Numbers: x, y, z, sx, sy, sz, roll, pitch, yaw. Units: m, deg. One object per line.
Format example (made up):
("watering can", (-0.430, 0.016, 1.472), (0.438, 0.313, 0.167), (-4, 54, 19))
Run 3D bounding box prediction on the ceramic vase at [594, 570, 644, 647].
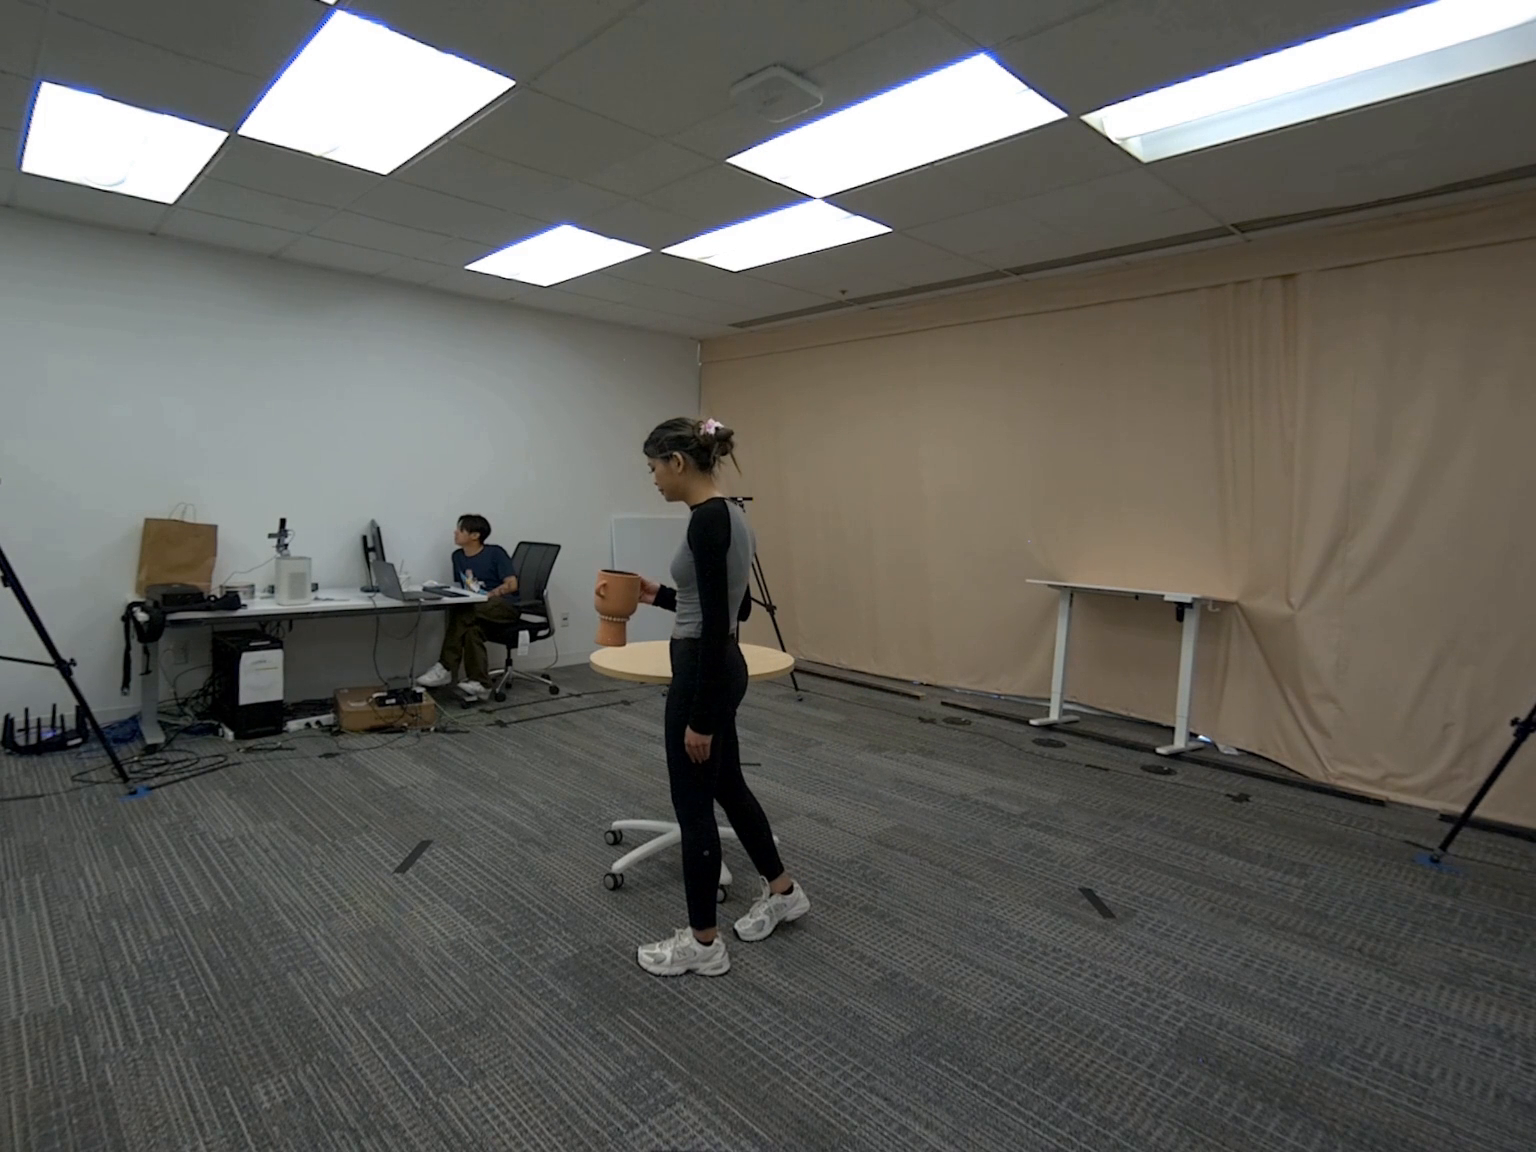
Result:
("ceramic vase", (-0.462, 0.100, 2.567), (0.156, 0.219, 0.137), (6, 4, -24))
